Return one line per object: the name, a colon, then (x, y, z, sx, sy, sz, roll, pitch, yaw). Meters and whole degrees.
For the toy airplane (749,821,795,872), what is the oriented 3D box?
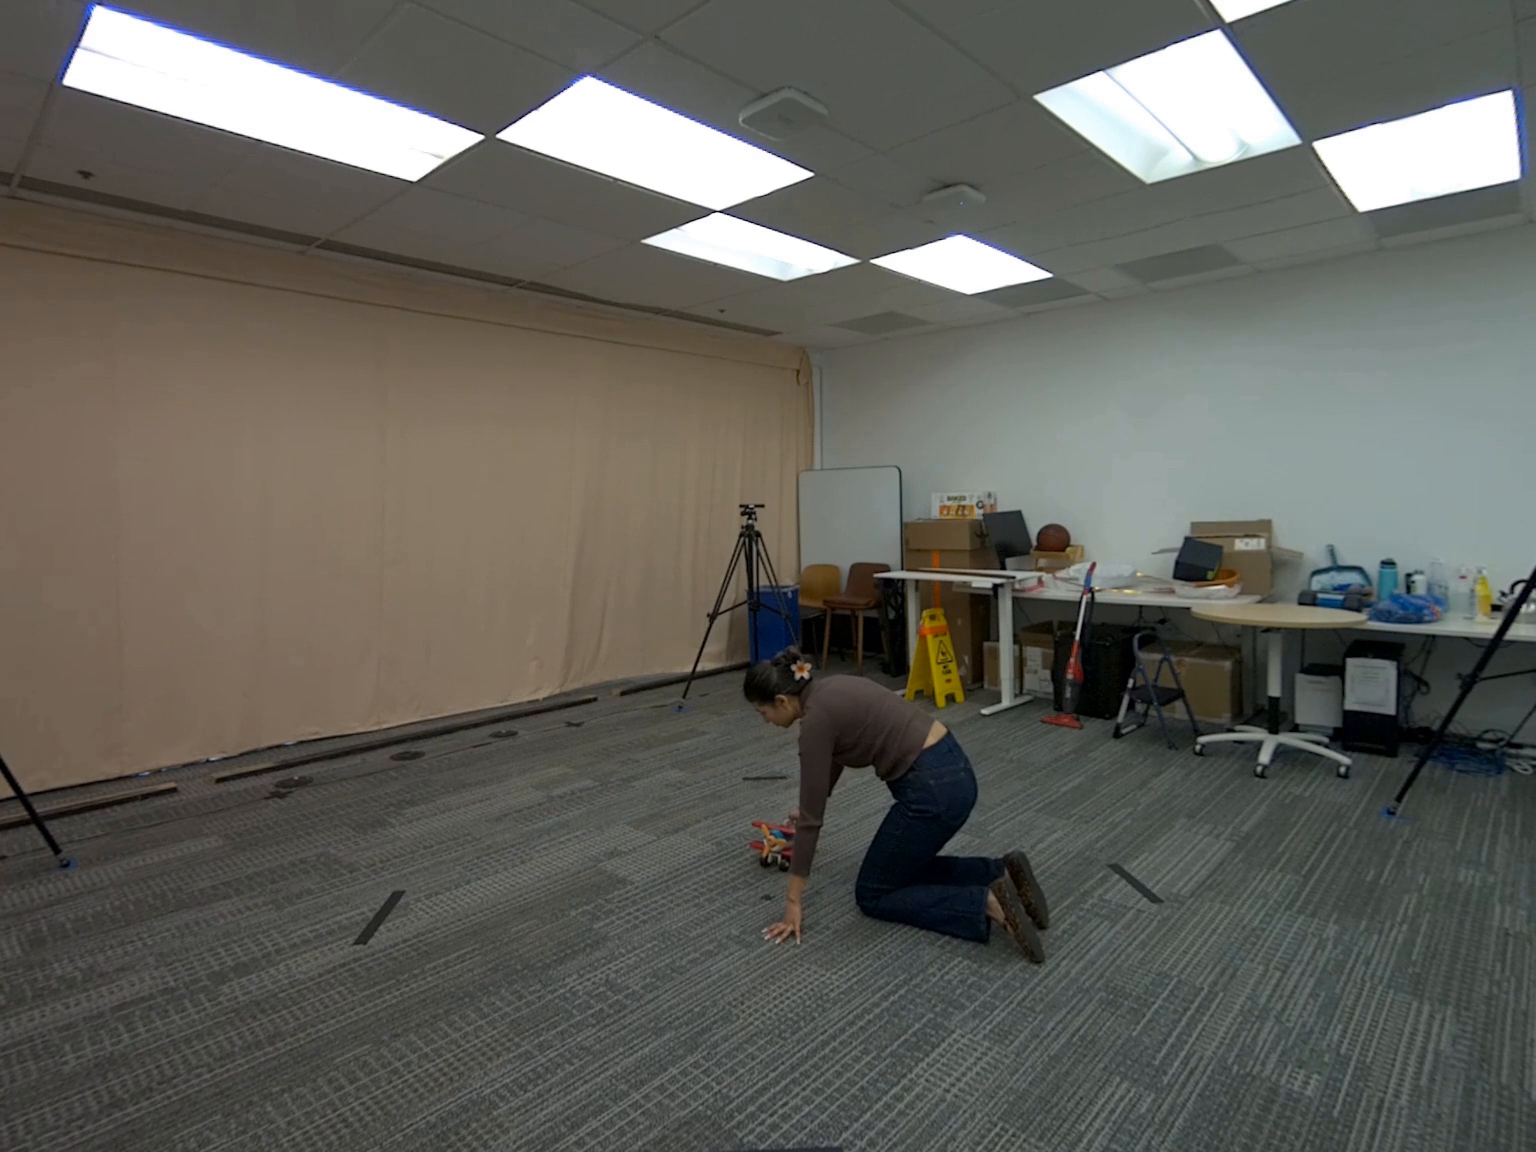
toy airplane: (0.052, 1.036, 3.295, 0.252, 0.156, 0.259, -1, 5, 2)
